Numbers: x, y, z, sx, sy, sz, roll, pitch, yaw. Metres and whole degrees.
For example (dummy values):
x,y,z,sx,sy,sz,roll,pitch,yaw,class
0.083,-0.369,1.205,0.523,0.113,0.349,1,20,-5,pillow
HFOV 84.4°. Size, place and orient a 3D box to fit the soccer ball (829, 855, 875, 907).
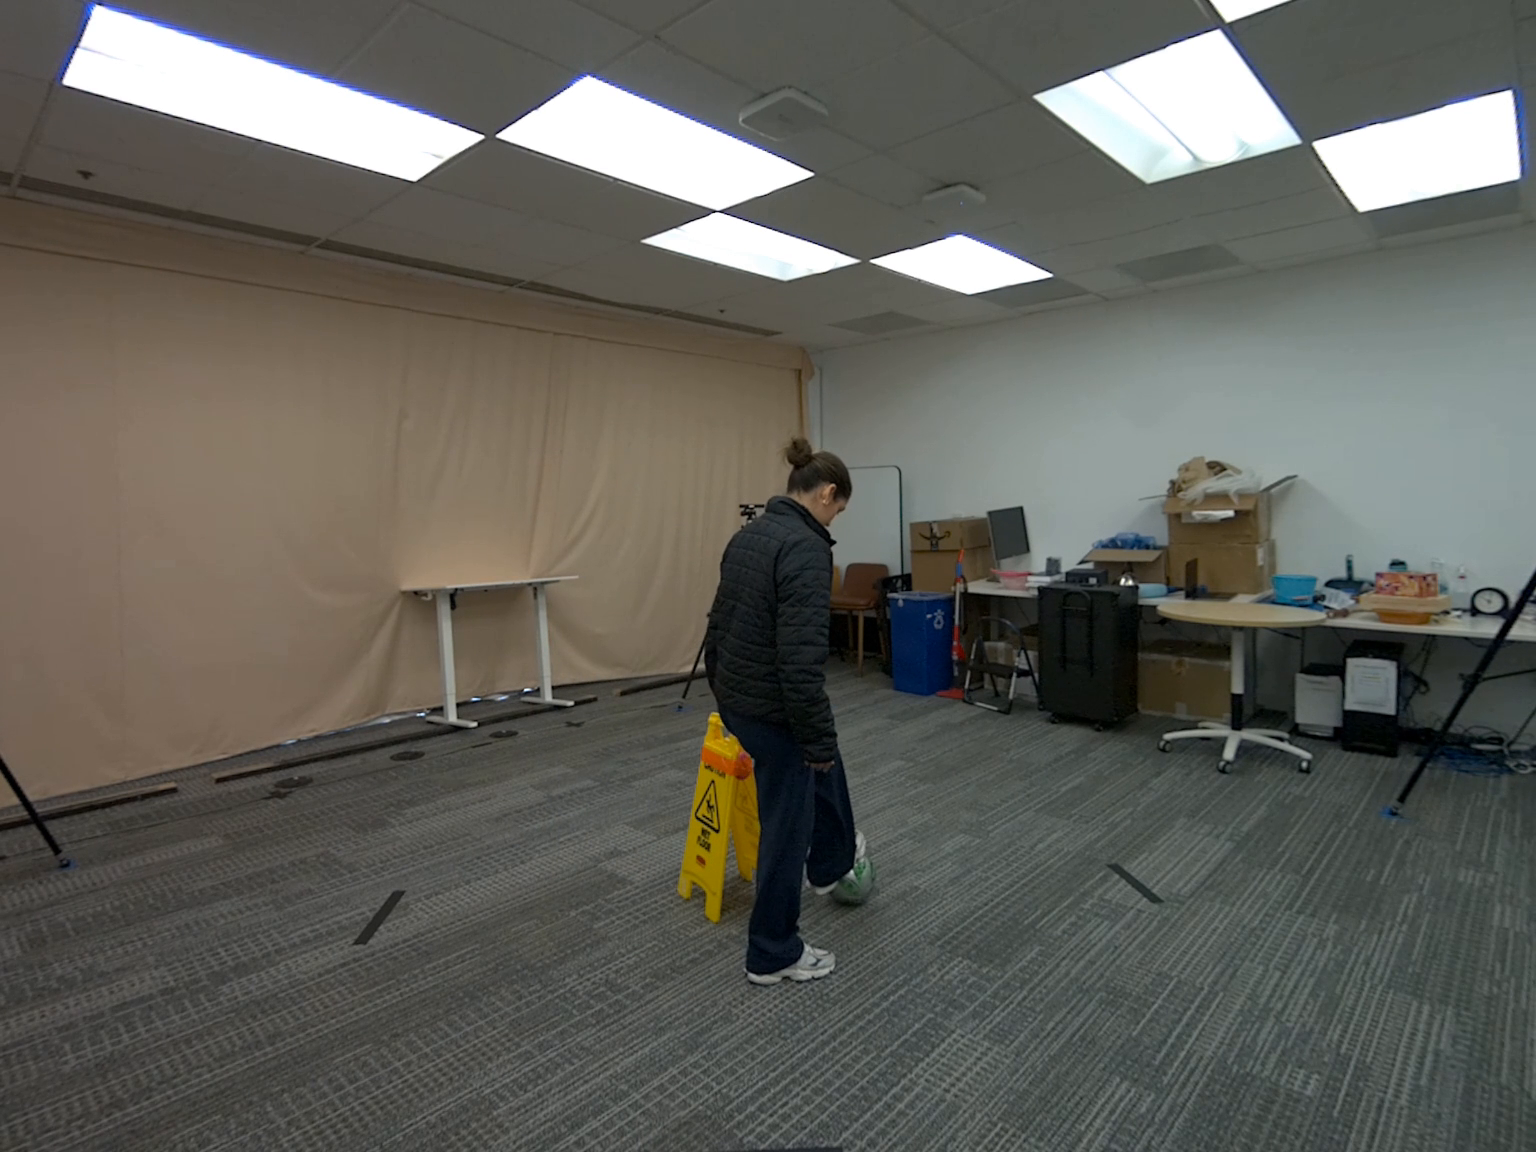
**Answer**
x,y,z,sx,sy,sz,roll,pitch,yaw,class
0.281,1.045,2.924,0.187,0.187,0.188,-1,4,-2,soccer ball
